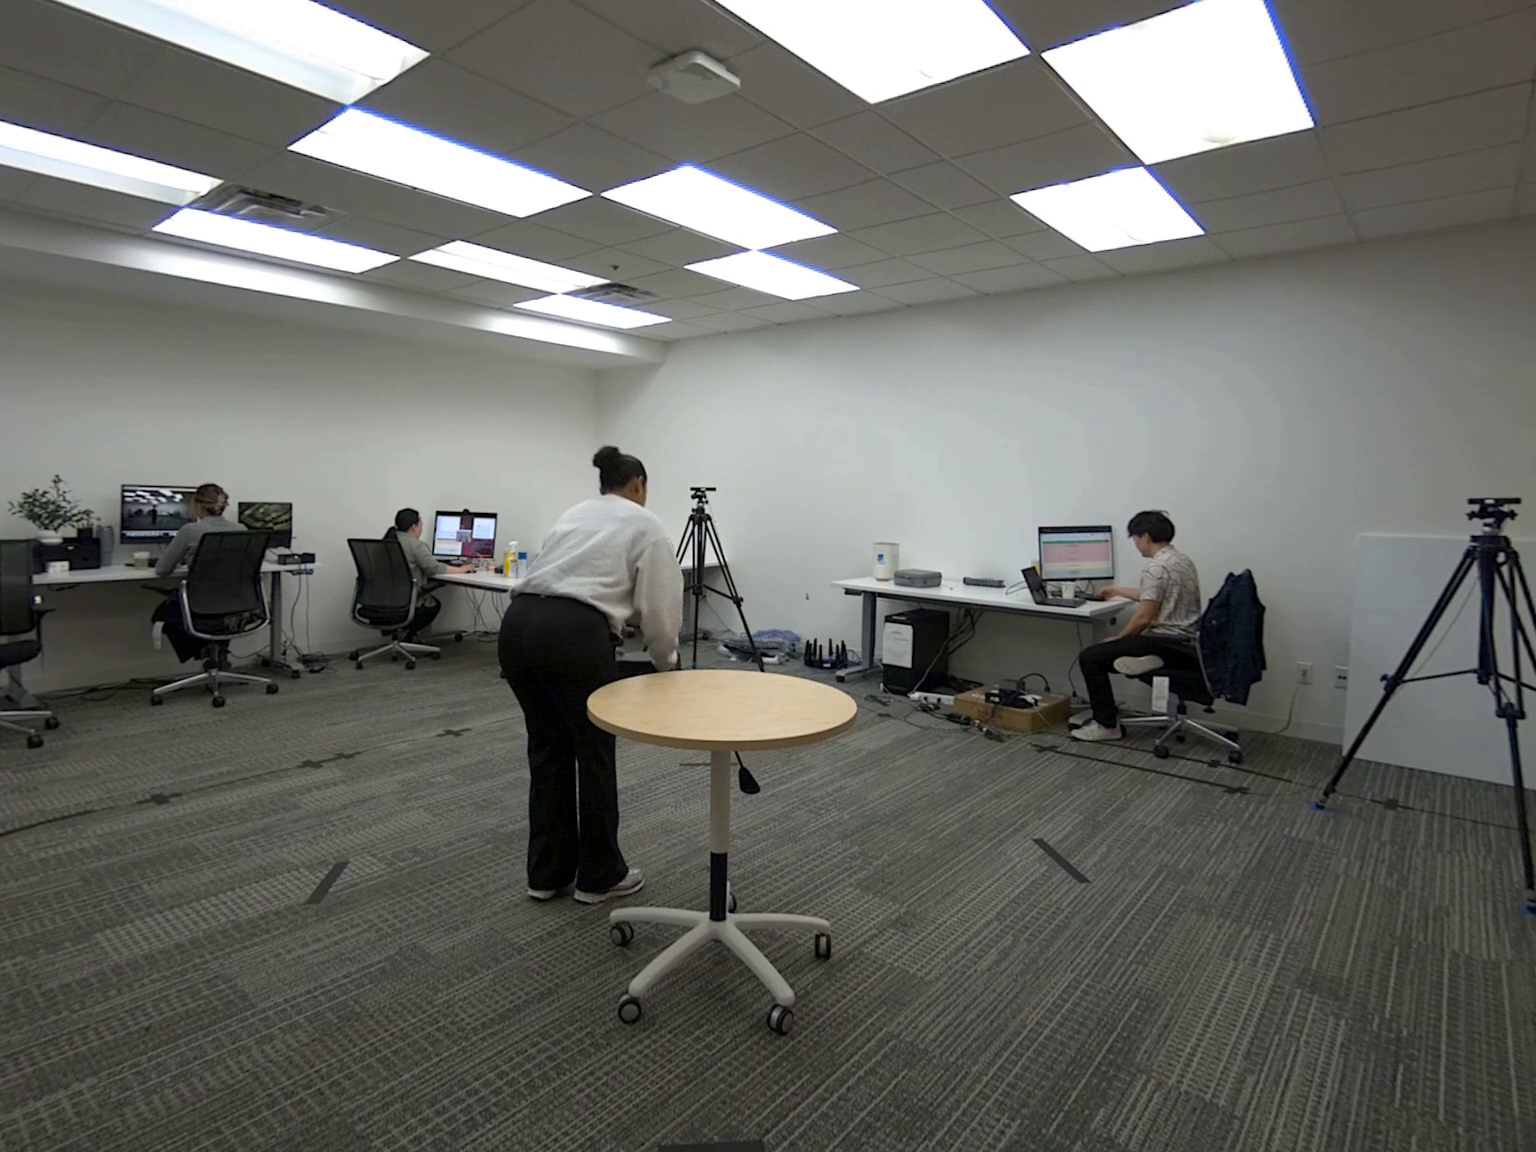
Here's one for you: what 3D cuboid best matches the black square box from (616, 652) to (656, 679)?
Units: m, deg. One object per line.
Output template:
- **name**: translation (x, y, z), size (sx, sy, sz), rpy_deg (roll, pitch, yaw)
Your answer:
- **black square box**: translation (-0.489, 0.380, 3.163), size (0.222, 0.156, 0.222), rpy_deg (-2, 2, 27)
